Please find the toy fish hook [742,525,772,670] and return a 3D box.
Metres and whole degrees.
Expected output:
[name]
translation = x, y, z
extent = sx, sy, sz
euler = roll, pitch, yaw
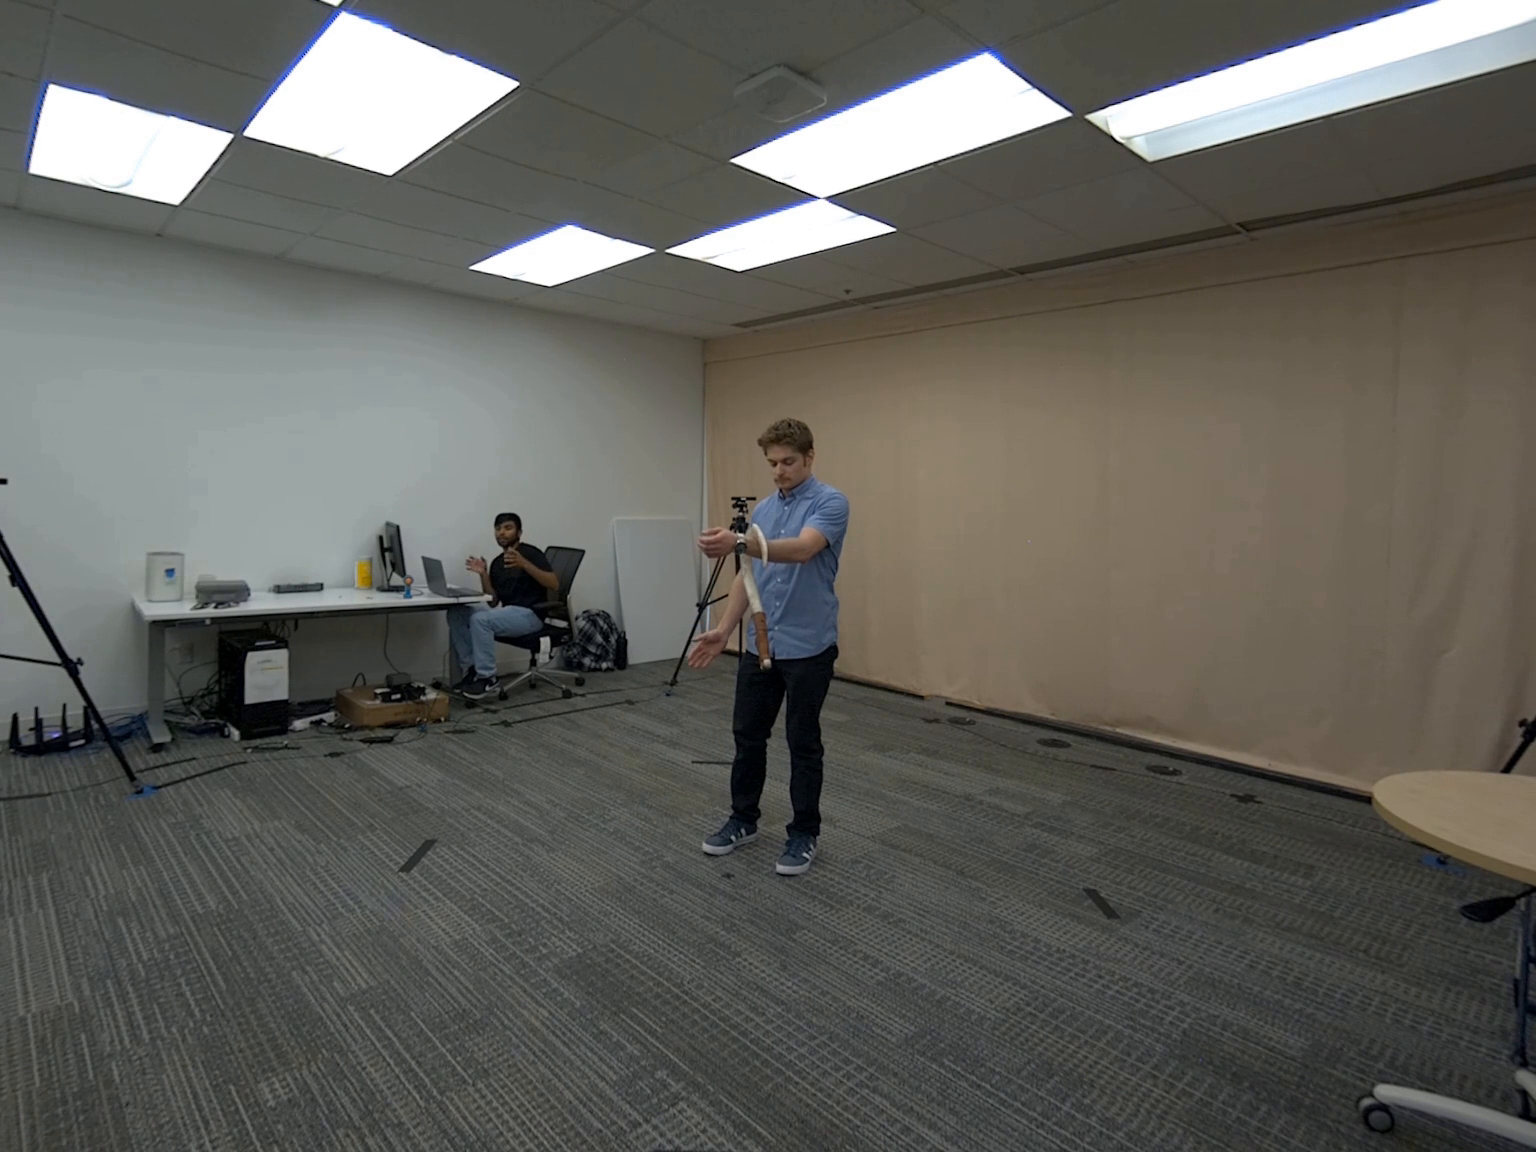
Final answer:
[toy fish hook]
translation = -0.041, 0.065, 2.845
extent = 0.048, 0.517, 0.222
euler = -2, -28, -12
